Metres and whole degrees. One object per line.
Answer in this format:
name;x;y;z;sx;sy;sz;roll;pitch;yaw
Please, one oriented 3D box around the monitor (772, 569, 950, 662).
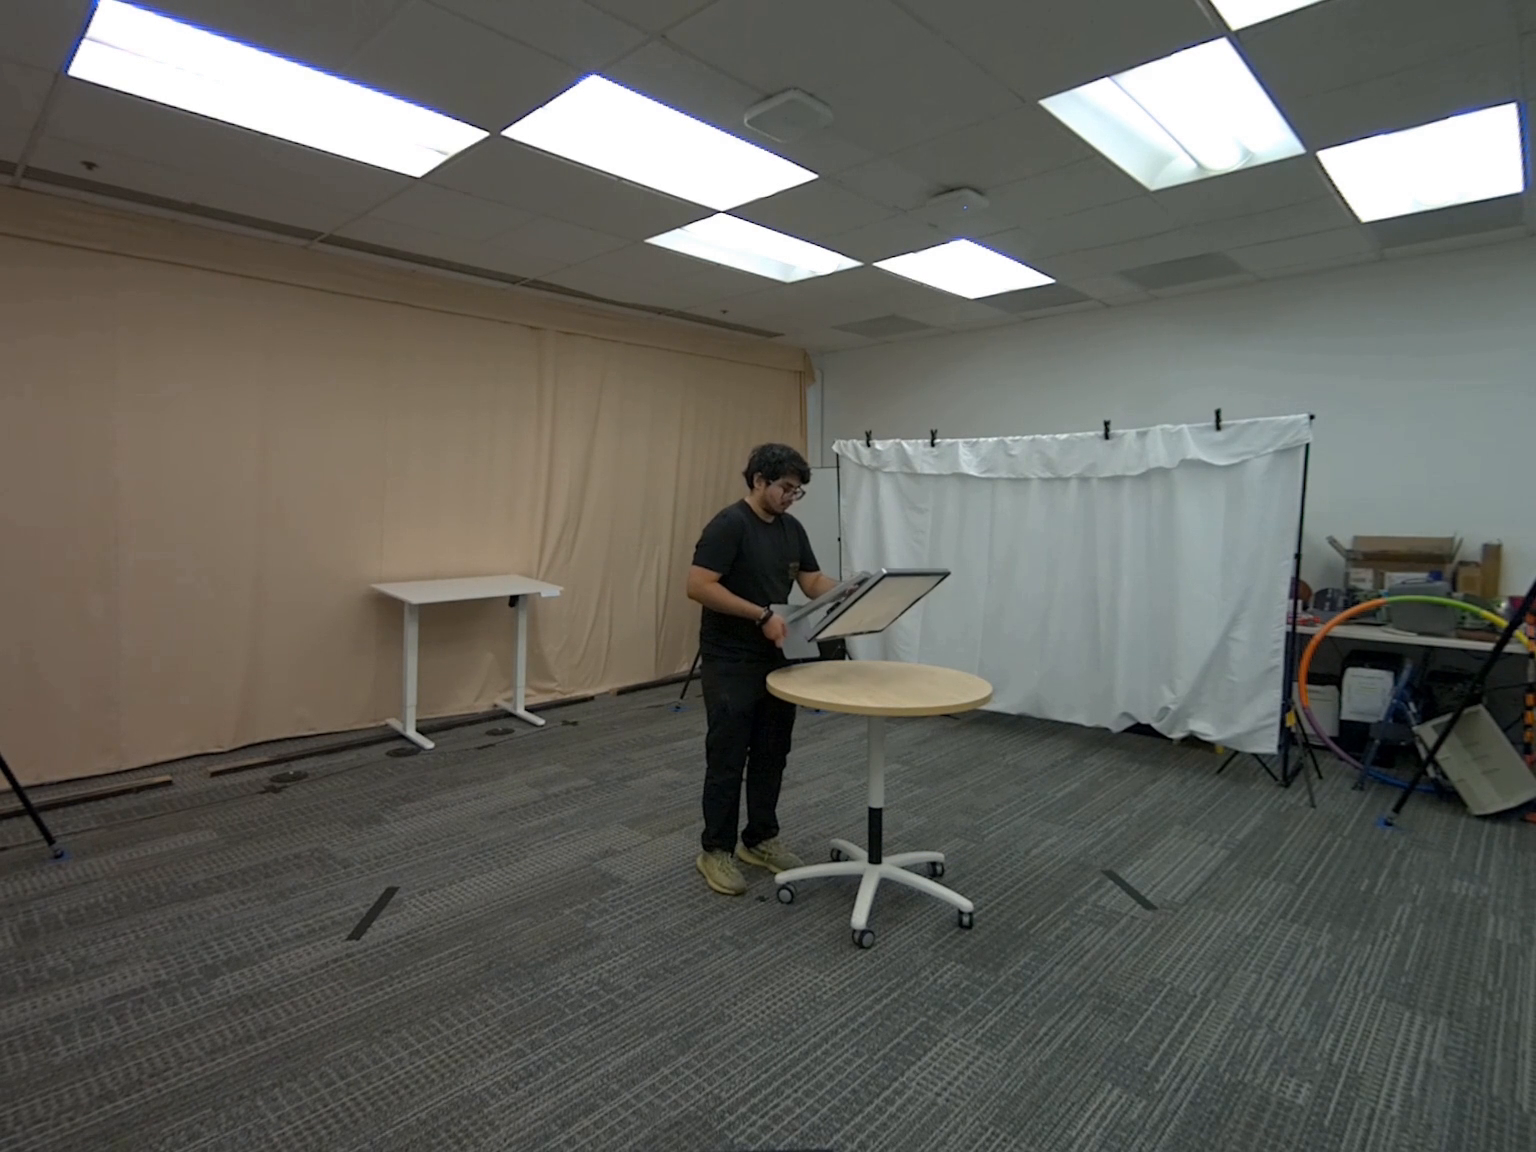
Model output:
monitor;0.290;0.077;2.958;0.560;0.214;0.548;-36;-19;28
